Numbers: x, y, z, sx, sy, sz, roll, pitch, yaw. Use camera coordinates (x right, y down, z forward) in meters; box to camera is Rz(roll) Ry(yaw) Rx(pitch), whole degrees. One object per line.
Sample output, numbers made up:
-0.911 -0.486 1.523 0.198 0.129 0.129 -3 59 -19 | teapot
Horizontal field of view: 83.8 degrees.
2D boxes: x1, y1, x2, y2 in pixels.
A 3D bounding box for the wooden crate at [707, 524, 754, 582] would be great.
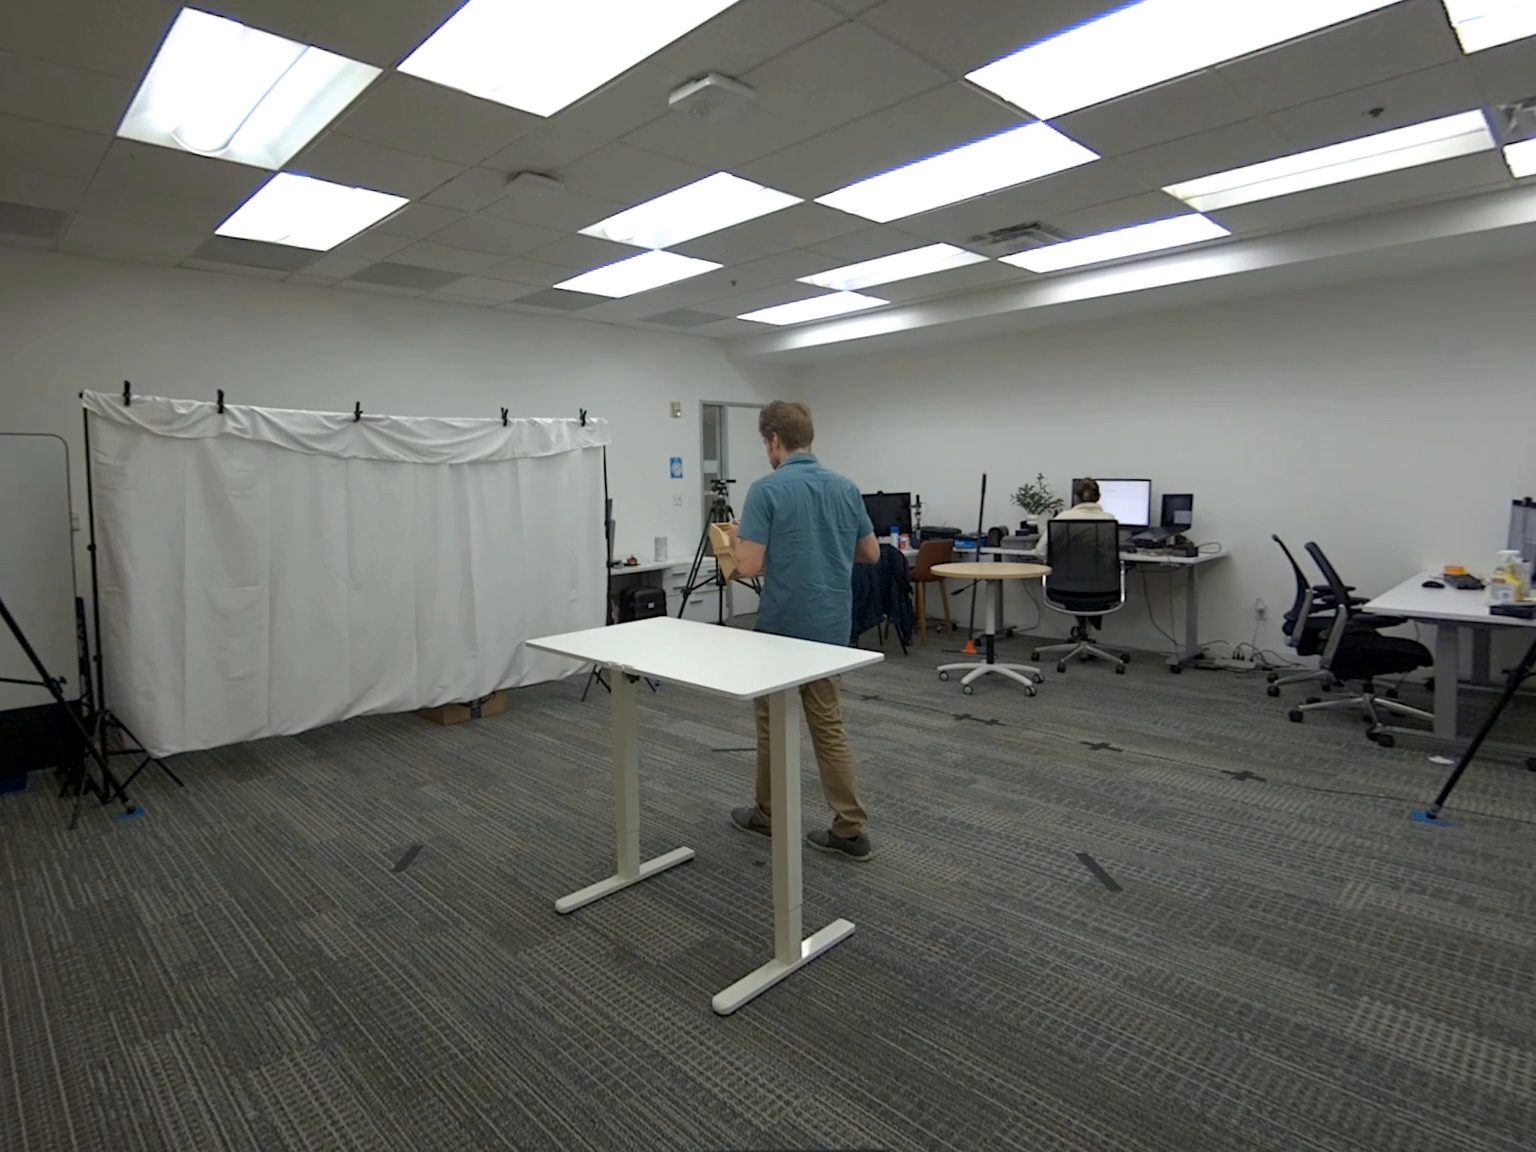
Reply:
-0.022 -0.151 3.502 0.317 0.311 0.272 -6 -29 -31 | wooden crate
